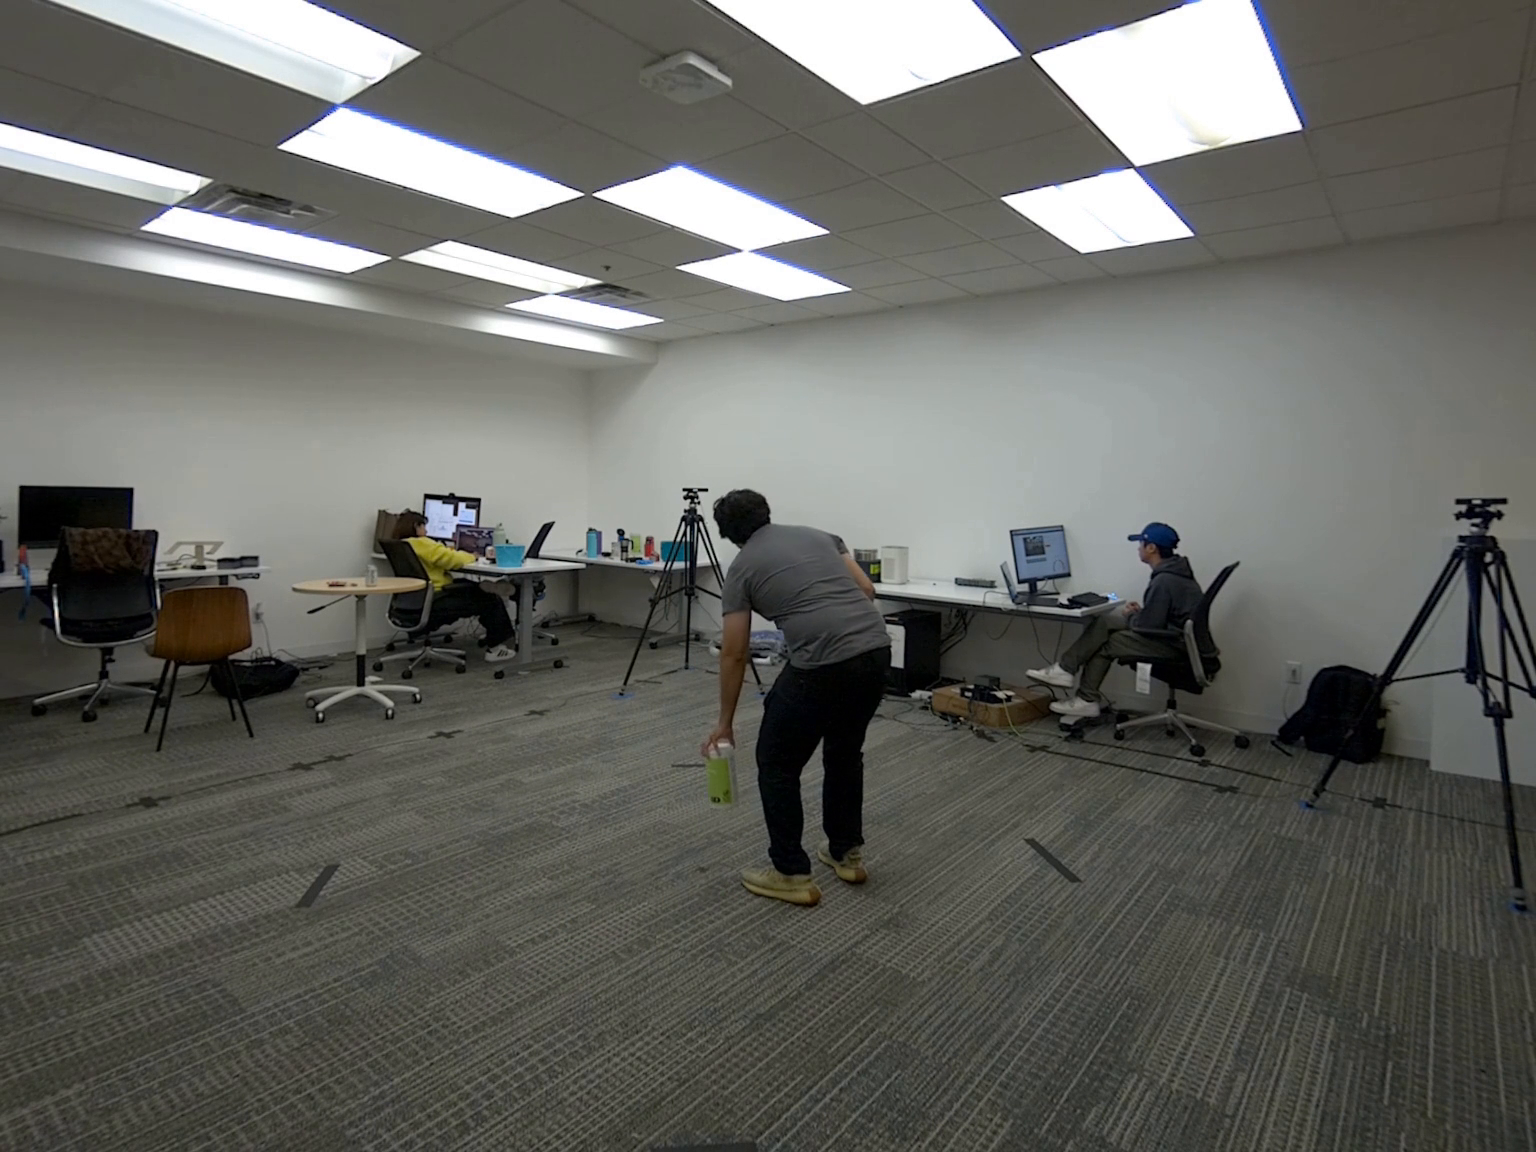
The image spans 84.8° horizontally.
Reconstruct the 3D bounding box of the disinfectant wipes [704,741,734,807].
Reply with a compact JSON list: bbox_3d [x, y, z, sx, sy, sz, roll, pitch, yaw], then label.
[{"bbox_3d":[-0.177,0.728,3.097,0.118,0.217,0.118,-7,3,-1],"label":"disinfectant wipes"}]
